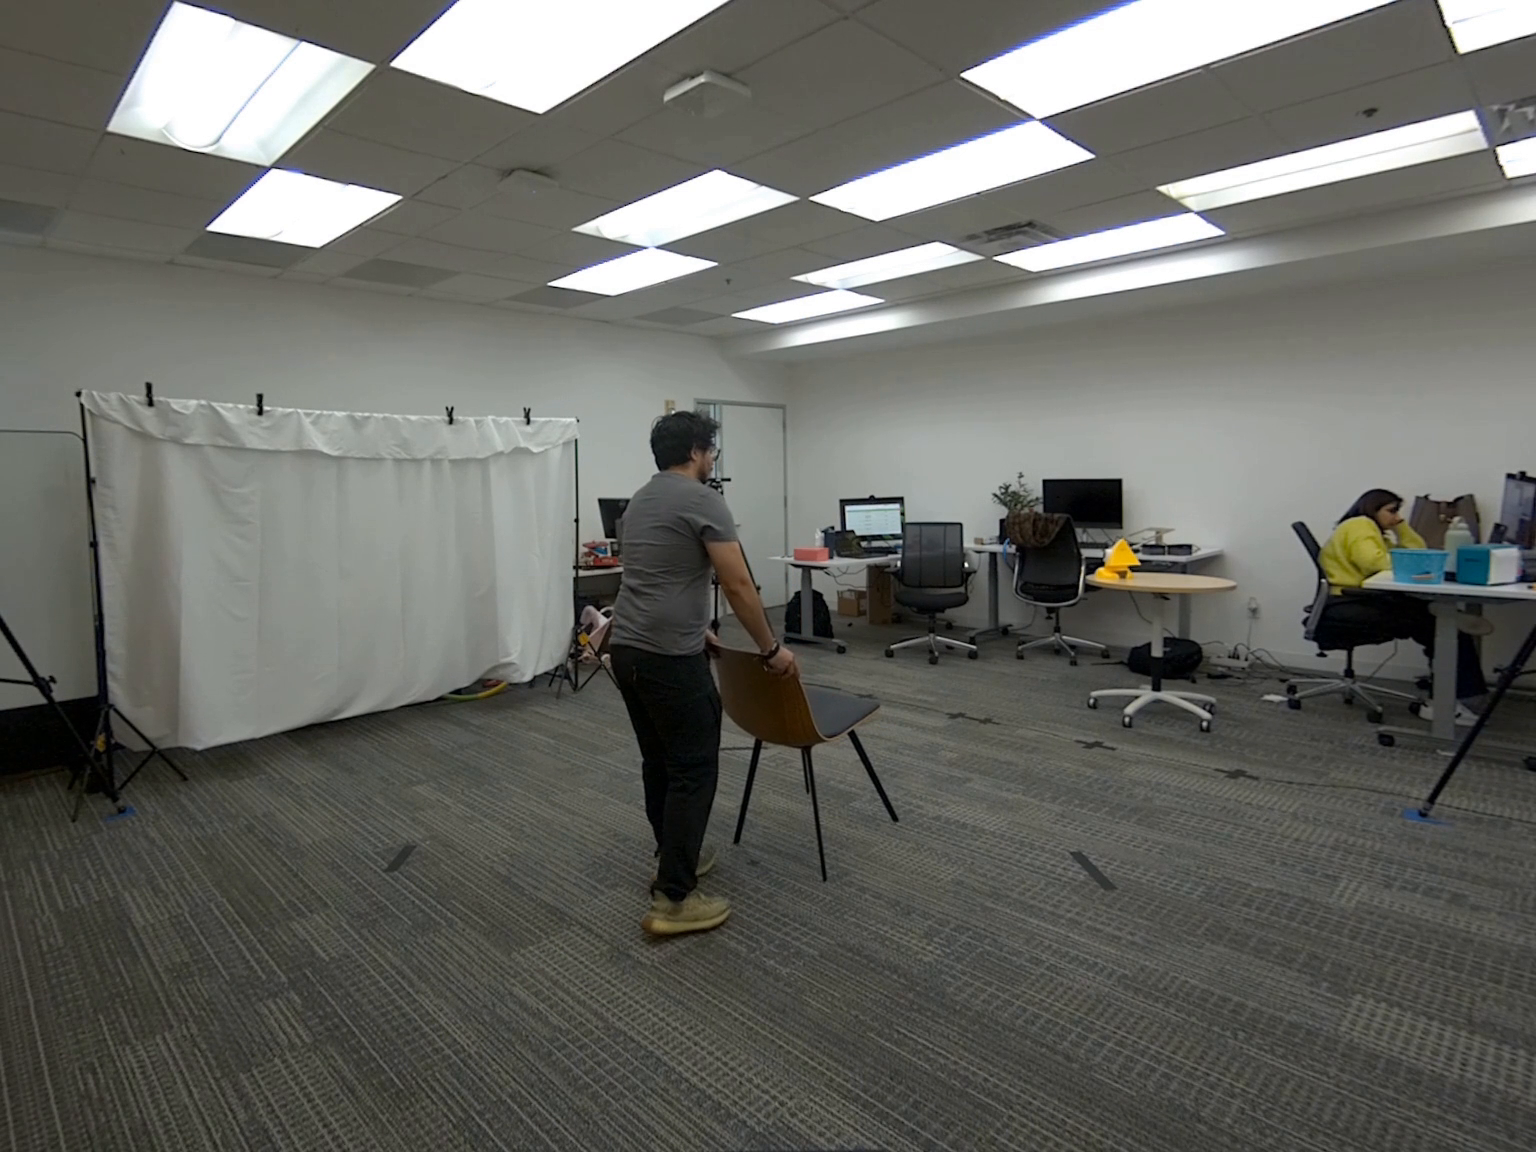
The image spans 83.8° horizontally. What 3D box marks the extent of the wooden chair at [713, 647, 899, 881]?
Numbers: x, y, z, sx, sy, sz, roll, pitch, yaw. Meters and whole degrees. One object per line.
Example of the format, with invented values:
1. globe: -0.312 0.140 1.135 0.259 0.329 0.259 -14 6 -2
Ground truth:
1. wooden chair: 0.127 0.564 3.180 0.493 0.863 0.516 3 21 44
